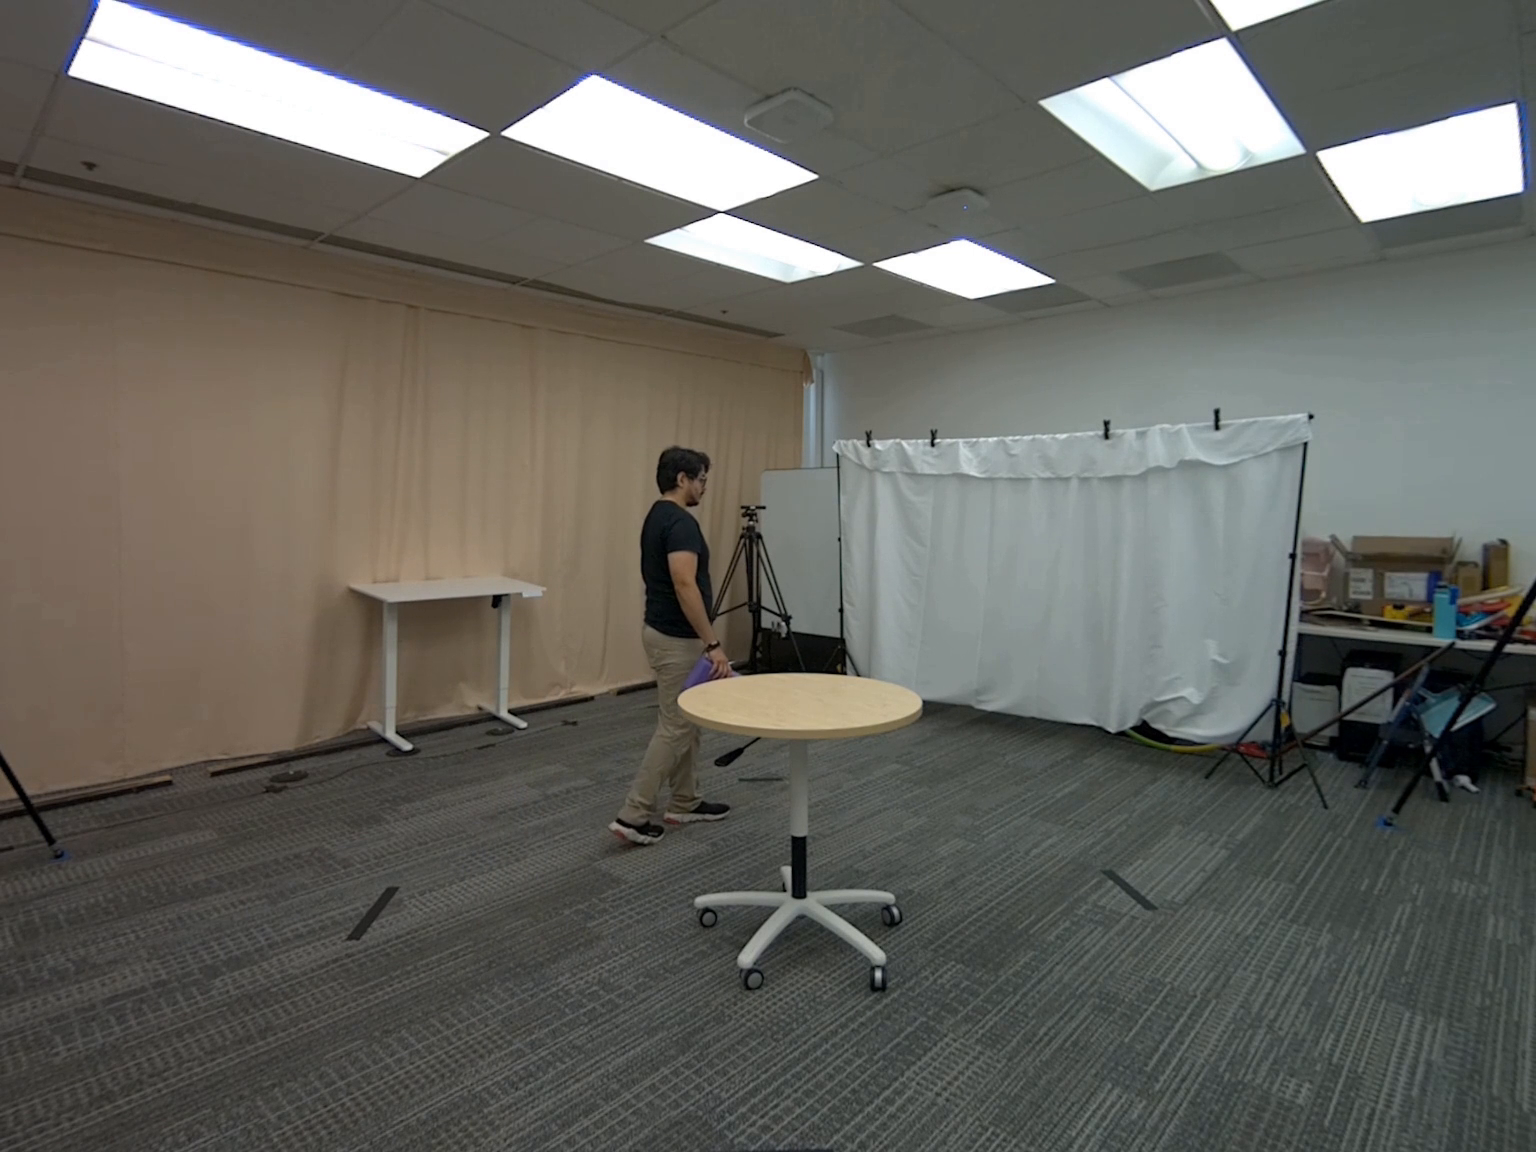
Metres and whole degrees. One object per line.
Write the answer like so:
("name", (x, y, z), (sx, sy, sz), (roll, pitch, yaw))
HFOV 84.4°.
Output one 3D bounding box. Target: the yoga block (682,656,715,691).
("yoga block", (-0.209, 0.439, 3.407), (0.224, 0.149, 0.078), (30, 6, -18))
